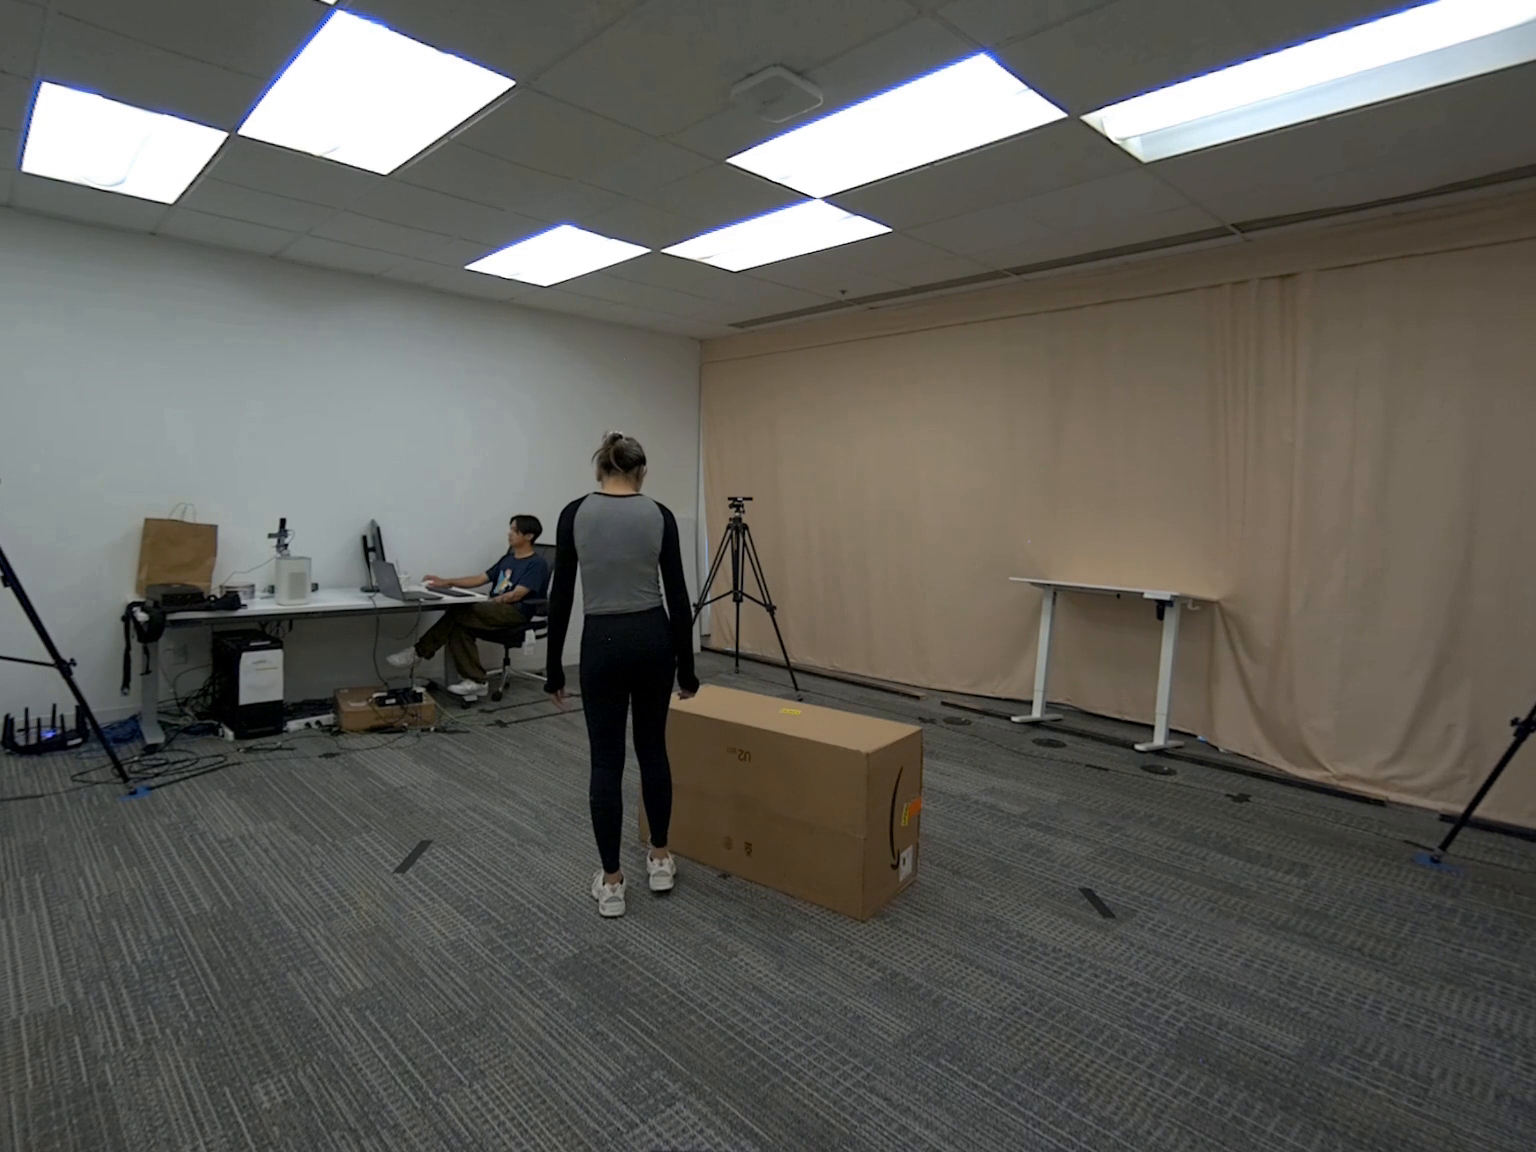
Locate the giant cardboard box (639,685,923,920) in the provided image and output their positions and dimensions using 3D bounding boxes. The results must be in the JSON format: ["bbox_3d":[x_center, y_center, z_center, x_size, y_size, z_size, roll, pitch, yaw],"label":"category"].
[{"bbox_3d":[0.024,0.813,3.245,1.051,0.576,0.417,5,6,37],"label":"giant cardboard box"}]
